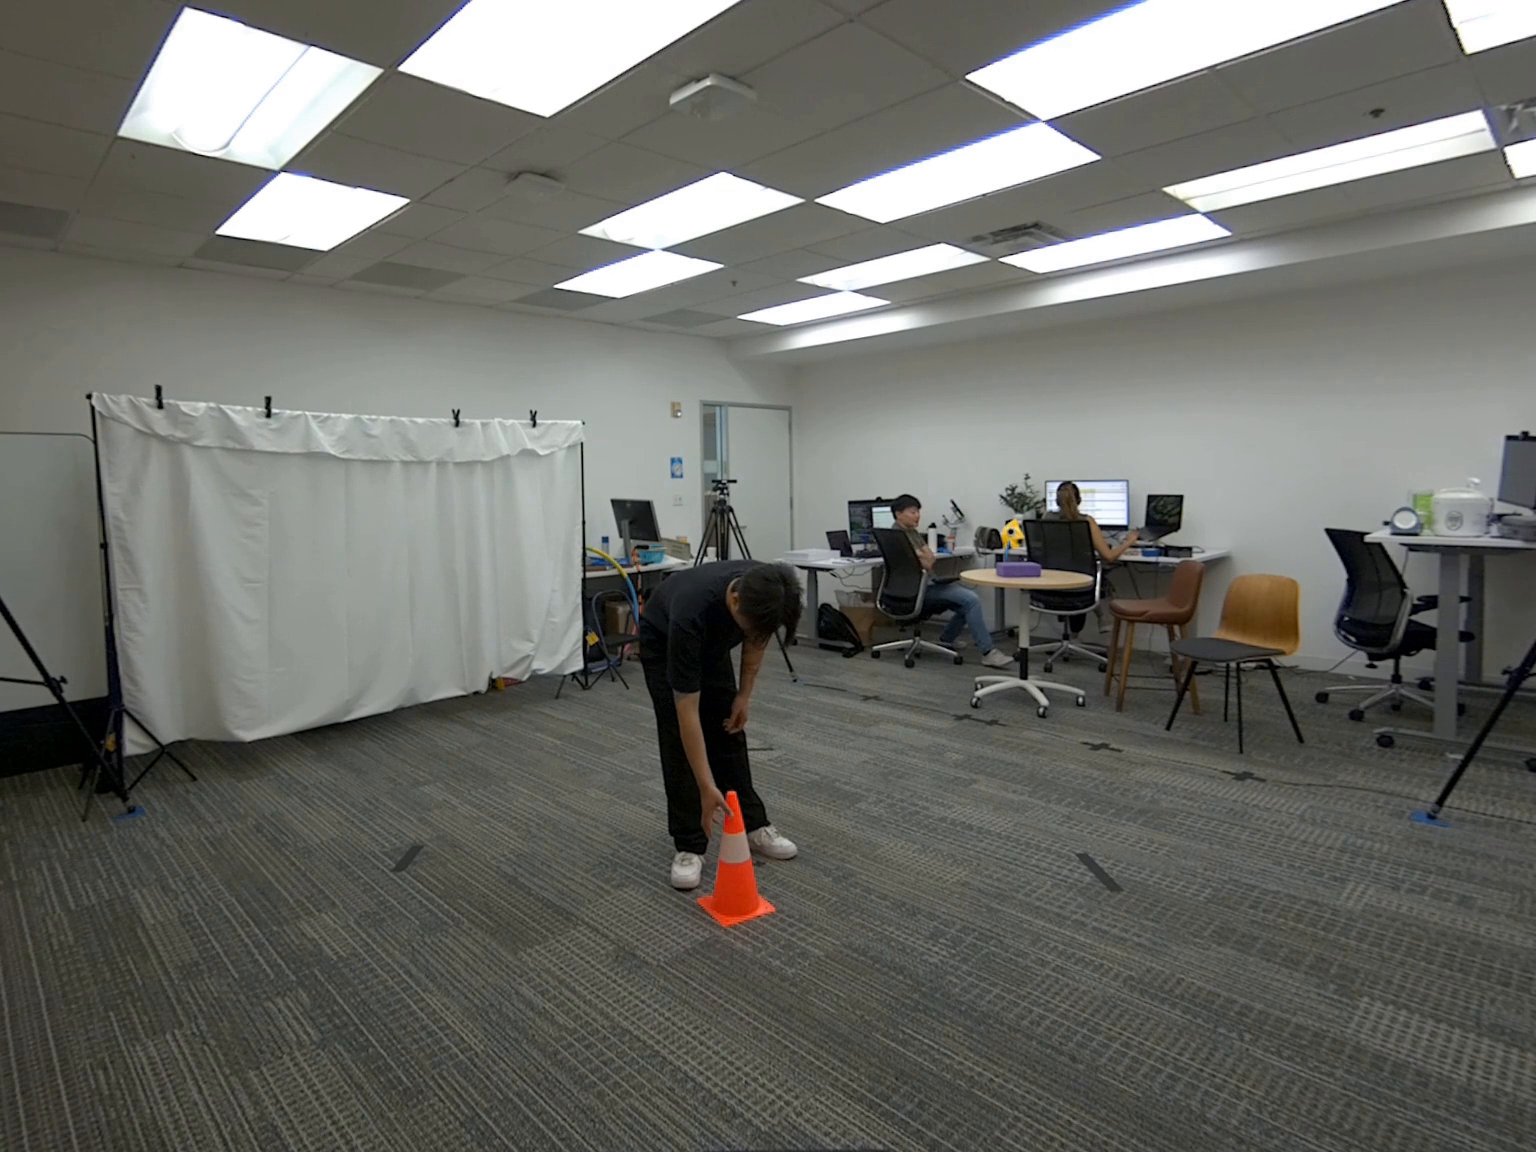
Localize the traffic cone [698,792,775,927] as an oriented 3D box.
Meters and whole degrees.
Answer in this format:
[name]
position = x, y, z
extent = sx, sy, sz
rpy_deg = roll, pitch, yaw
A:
[traffic cone]
position = -0.116, 0.909, 2.795
extent = 0.200, 0.382, 0.209
rpy_deg = -5, 5, -30
